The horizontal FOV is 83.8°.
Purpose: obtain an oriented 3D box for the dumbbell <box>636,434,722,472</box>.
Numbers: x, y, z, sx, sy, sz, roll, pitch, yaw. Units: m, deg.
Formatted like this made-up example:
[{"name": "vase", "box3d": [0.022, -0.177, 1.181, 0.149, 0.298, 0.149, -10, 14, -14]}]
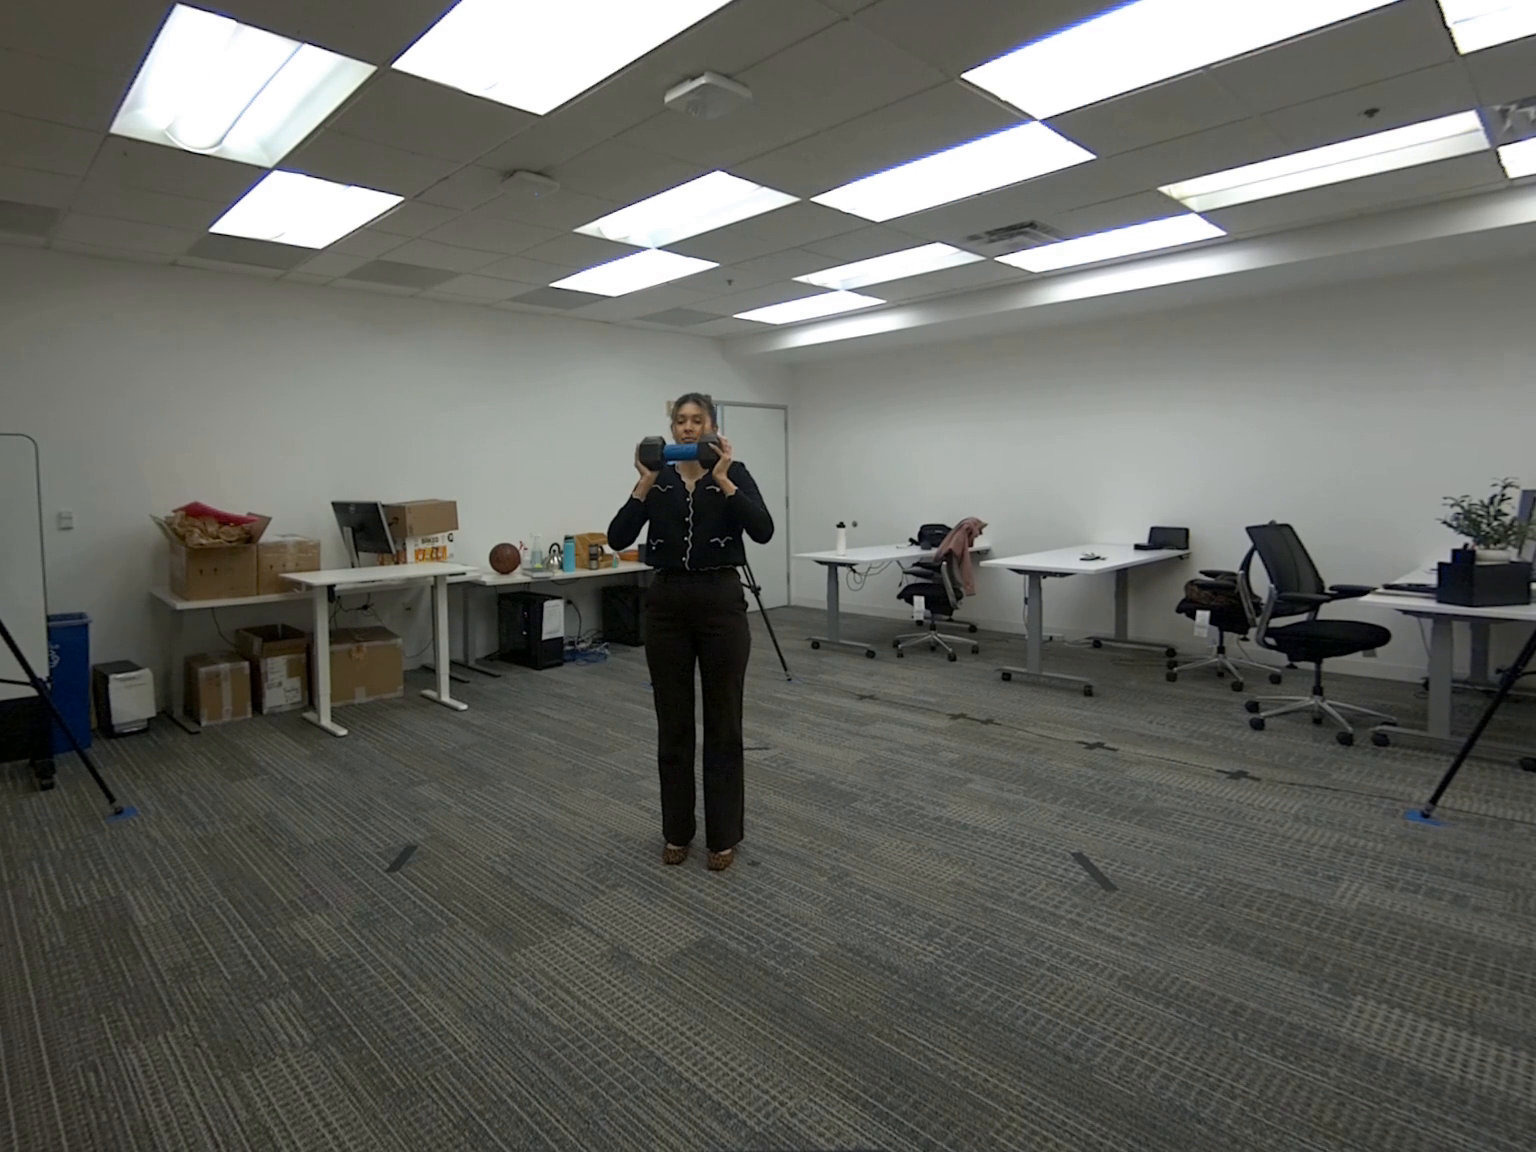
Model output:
[{"name": "dumbbell", "box3d": [-0.303, -0.432, 2.995, 0.298, 0.106, 0.124, 4, 34, 16]}]
